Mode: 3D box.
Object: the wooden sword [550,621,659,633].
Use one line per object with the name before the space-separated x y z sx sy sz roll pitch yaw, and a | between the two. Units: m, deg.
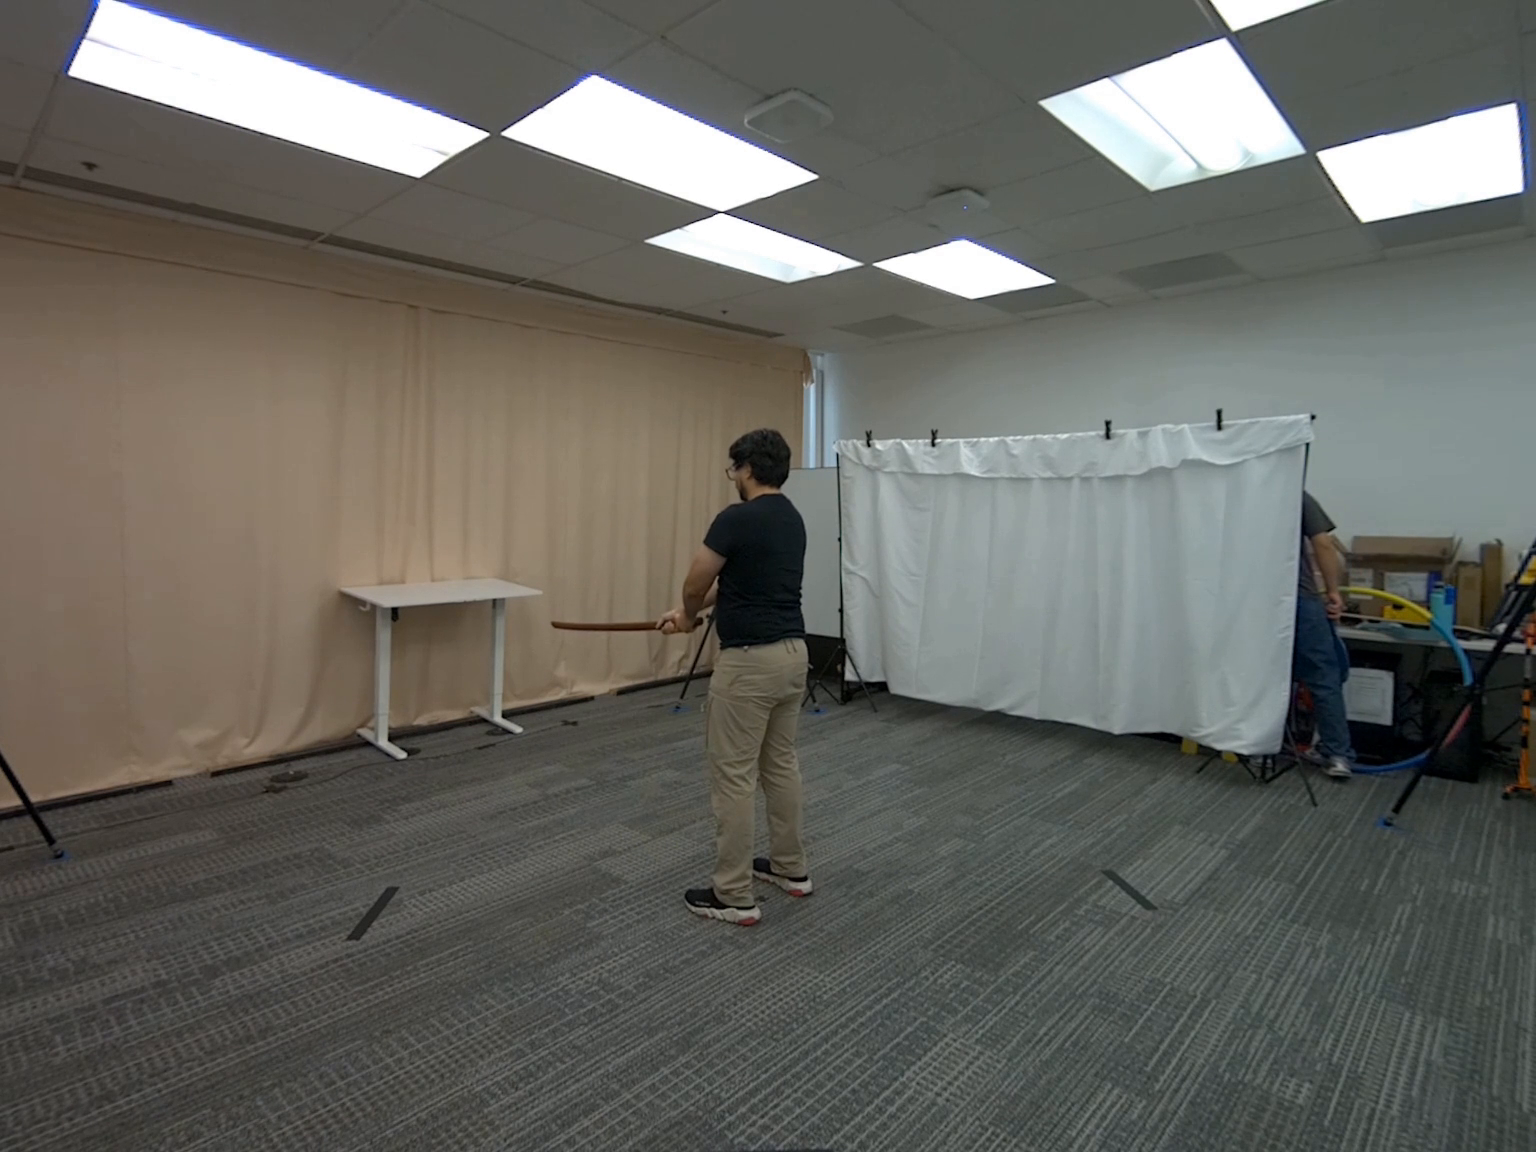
wooden sword | -0.663 0.216 3.557 1.057 0.024 0.050 -3 -43 46
